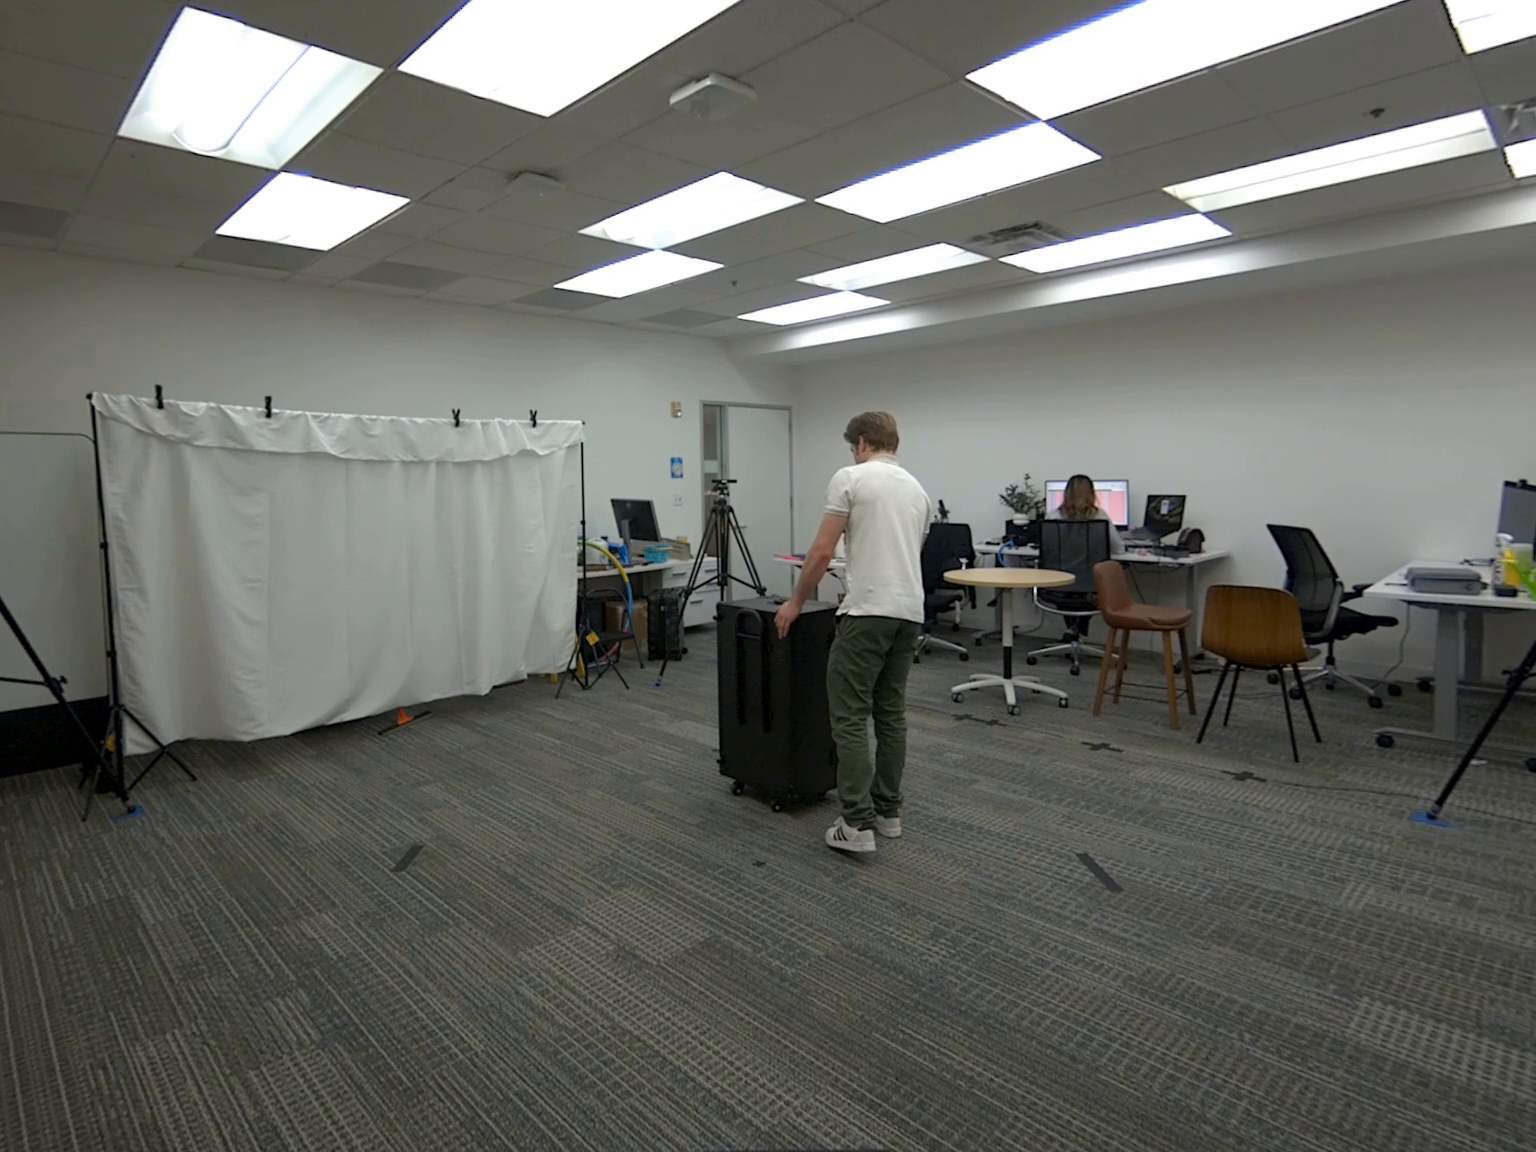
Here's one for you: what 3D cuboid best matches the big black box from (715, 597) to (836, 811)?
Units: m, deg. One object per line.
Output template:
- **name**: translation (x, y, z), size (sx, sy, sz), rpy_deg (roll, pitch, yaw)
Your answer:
- **big black box**: translation (0.065, 0.554, 3.766), size (0.375, 0.865, 0.539), rpy_deg (-4, 6, -41)
